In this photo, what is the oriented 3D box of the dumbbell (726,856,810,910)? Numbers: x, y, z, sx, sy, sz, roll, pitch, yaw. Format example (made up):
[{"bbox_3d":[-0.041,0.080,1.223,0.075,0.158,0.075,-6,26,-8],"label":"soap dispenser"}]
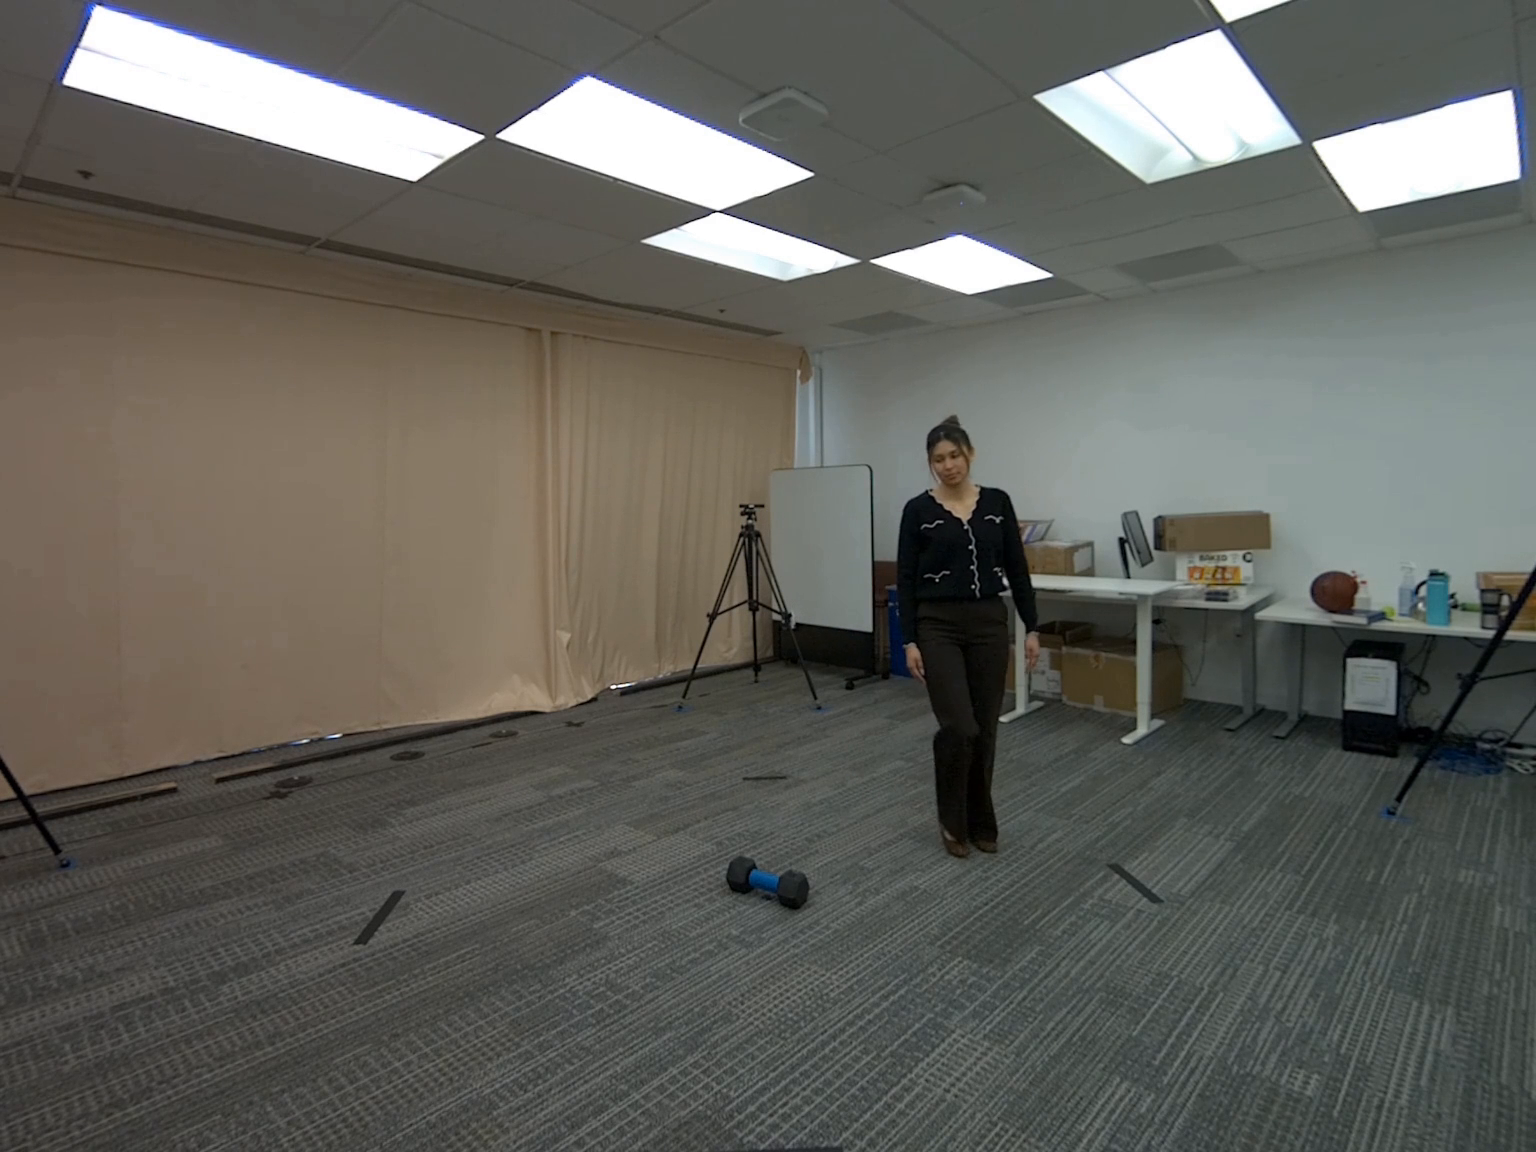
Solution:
[{"bbox_3d":[-0.001,1.085,2.982,0.303,0.120,0.108,3,34,34],"label":"dumbbell"}]
